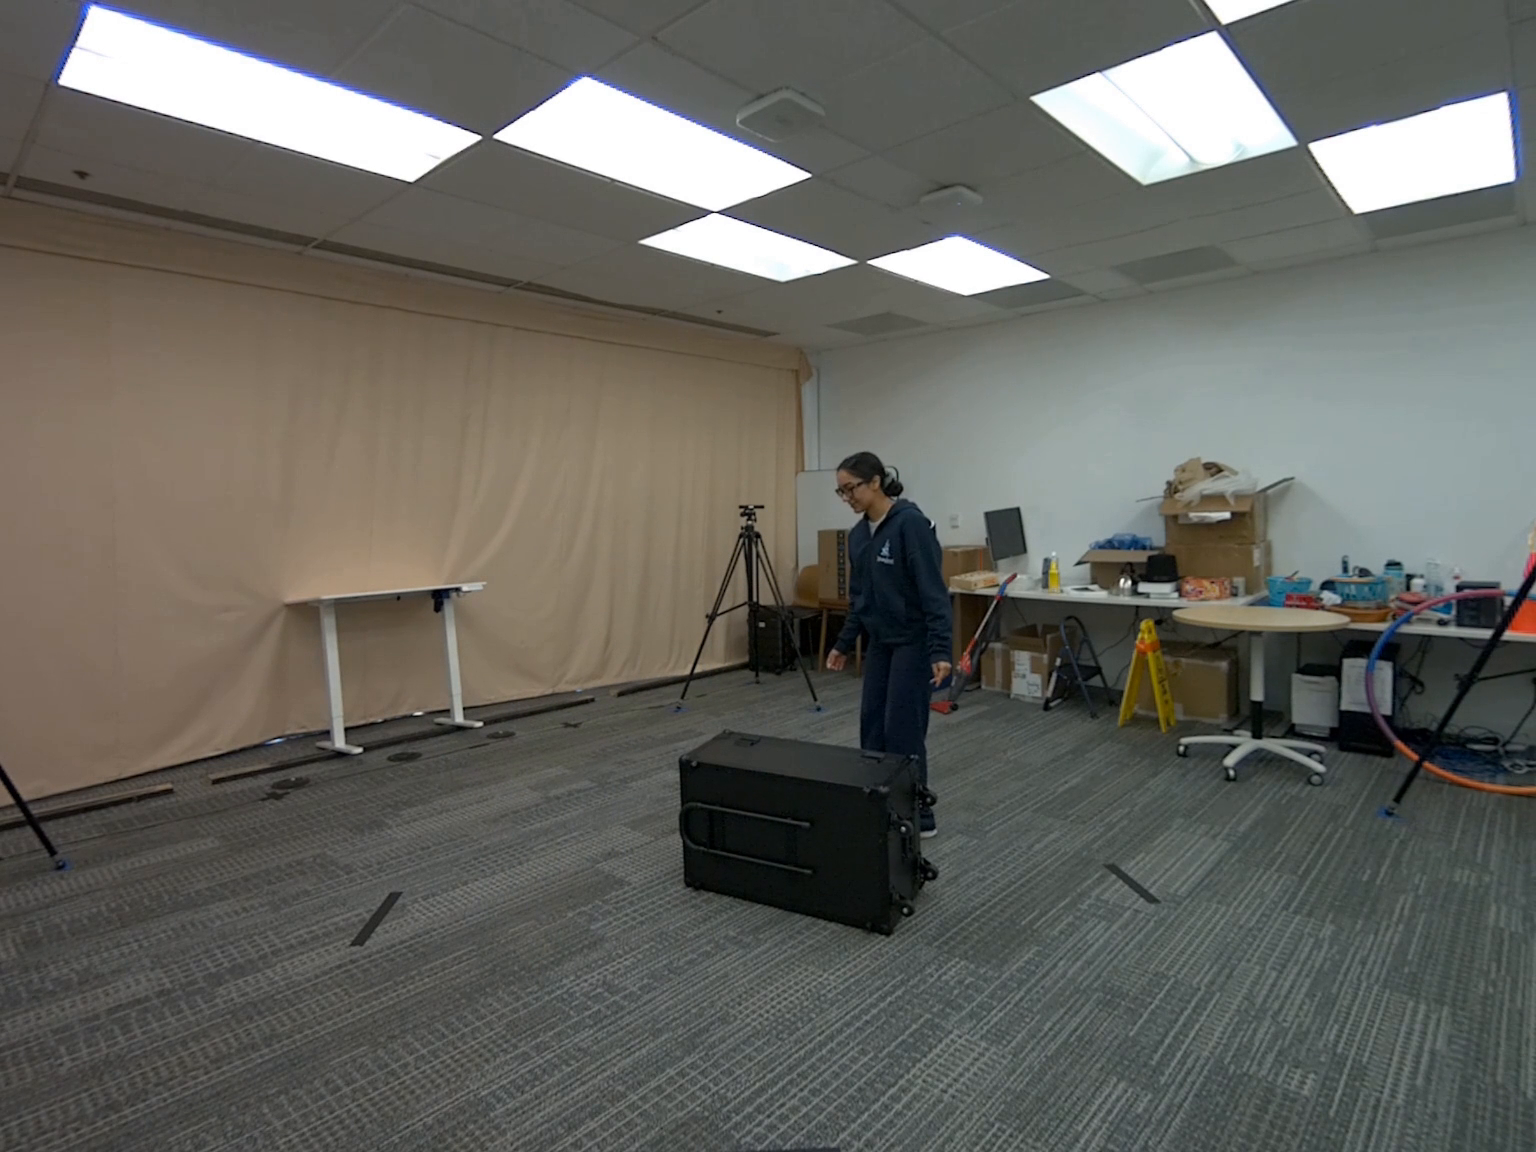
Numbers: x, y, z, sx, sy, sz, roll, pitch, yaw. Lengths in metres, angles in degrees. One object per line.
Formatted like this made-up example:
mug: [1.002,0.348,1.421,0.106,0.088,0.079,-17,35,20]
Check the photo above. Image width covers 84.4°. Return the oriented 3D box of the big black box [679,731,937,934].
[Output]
big black box: [0.134,0.881,2.995,0.885,0.519,0.387,1,7,29]
